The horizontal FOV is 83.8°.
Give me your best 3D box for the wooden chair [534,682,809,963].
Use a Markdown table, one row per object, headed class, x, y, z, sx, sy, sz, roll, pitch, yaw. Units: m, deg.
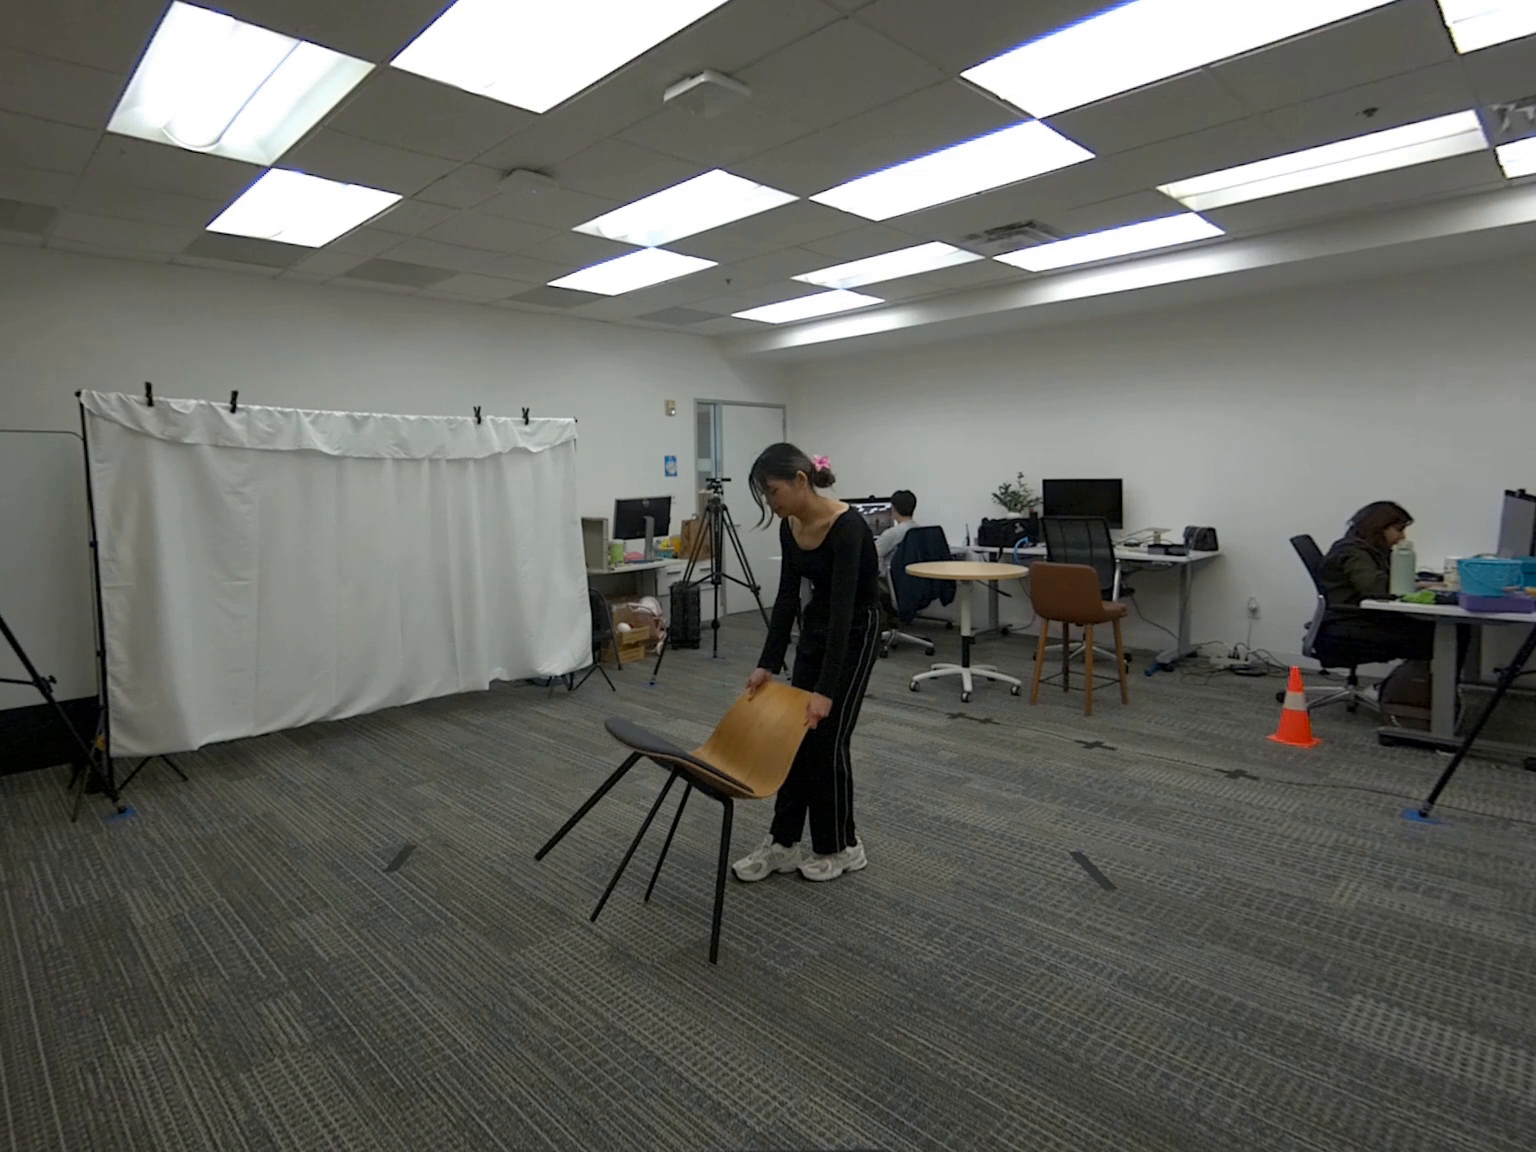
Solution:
| class | x | y | z | sx | sy | sz | roll | pitch | yaw |
| --- | --- | --- | --- | --- | --- | --- | --- | --- | --- |
| wooden chair | -0.249 | 0.609 | 2.632 | 0.506 | 0.881 | 0.492 | 38 | -17 | -29 |
